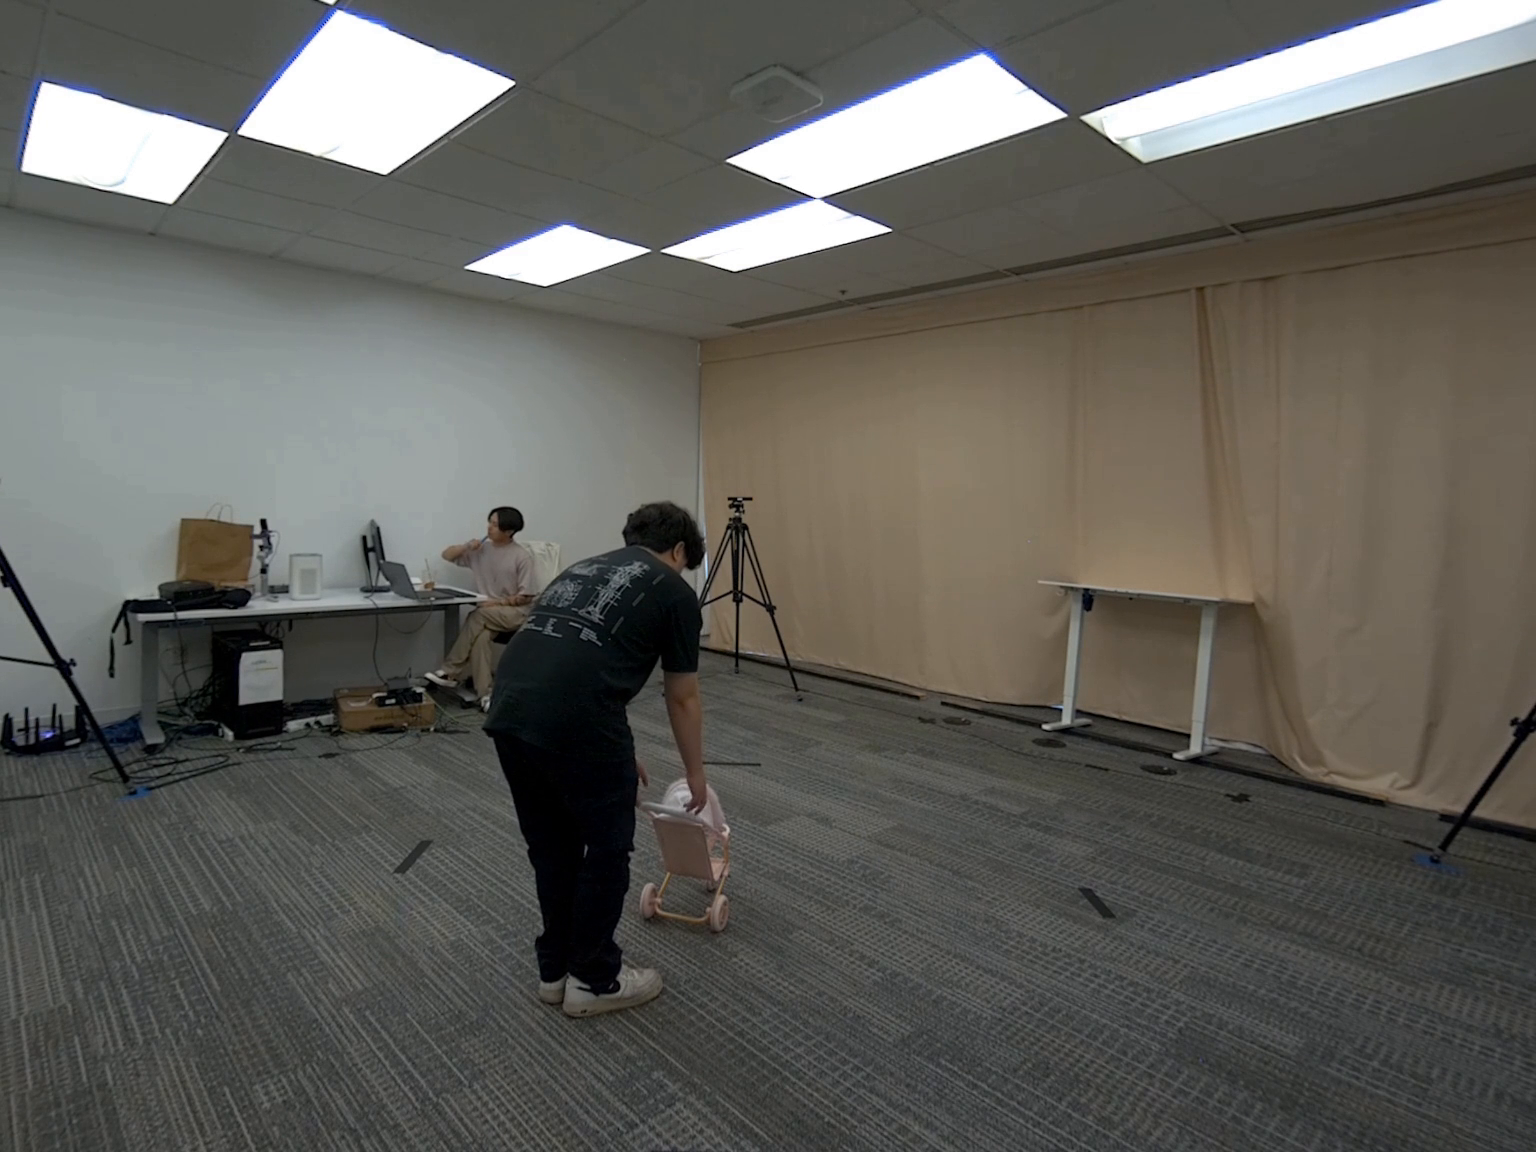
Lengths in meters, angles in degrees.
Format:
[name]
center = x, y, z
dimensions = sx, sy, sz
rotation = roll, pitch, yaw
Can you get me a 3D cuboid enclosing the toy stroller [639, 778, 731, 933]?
[toy stroller]
center = -0.254, 0.909, 2.801
dimensions = 0.286, 0.528, 0.340
rotation = 4, 19, 21
